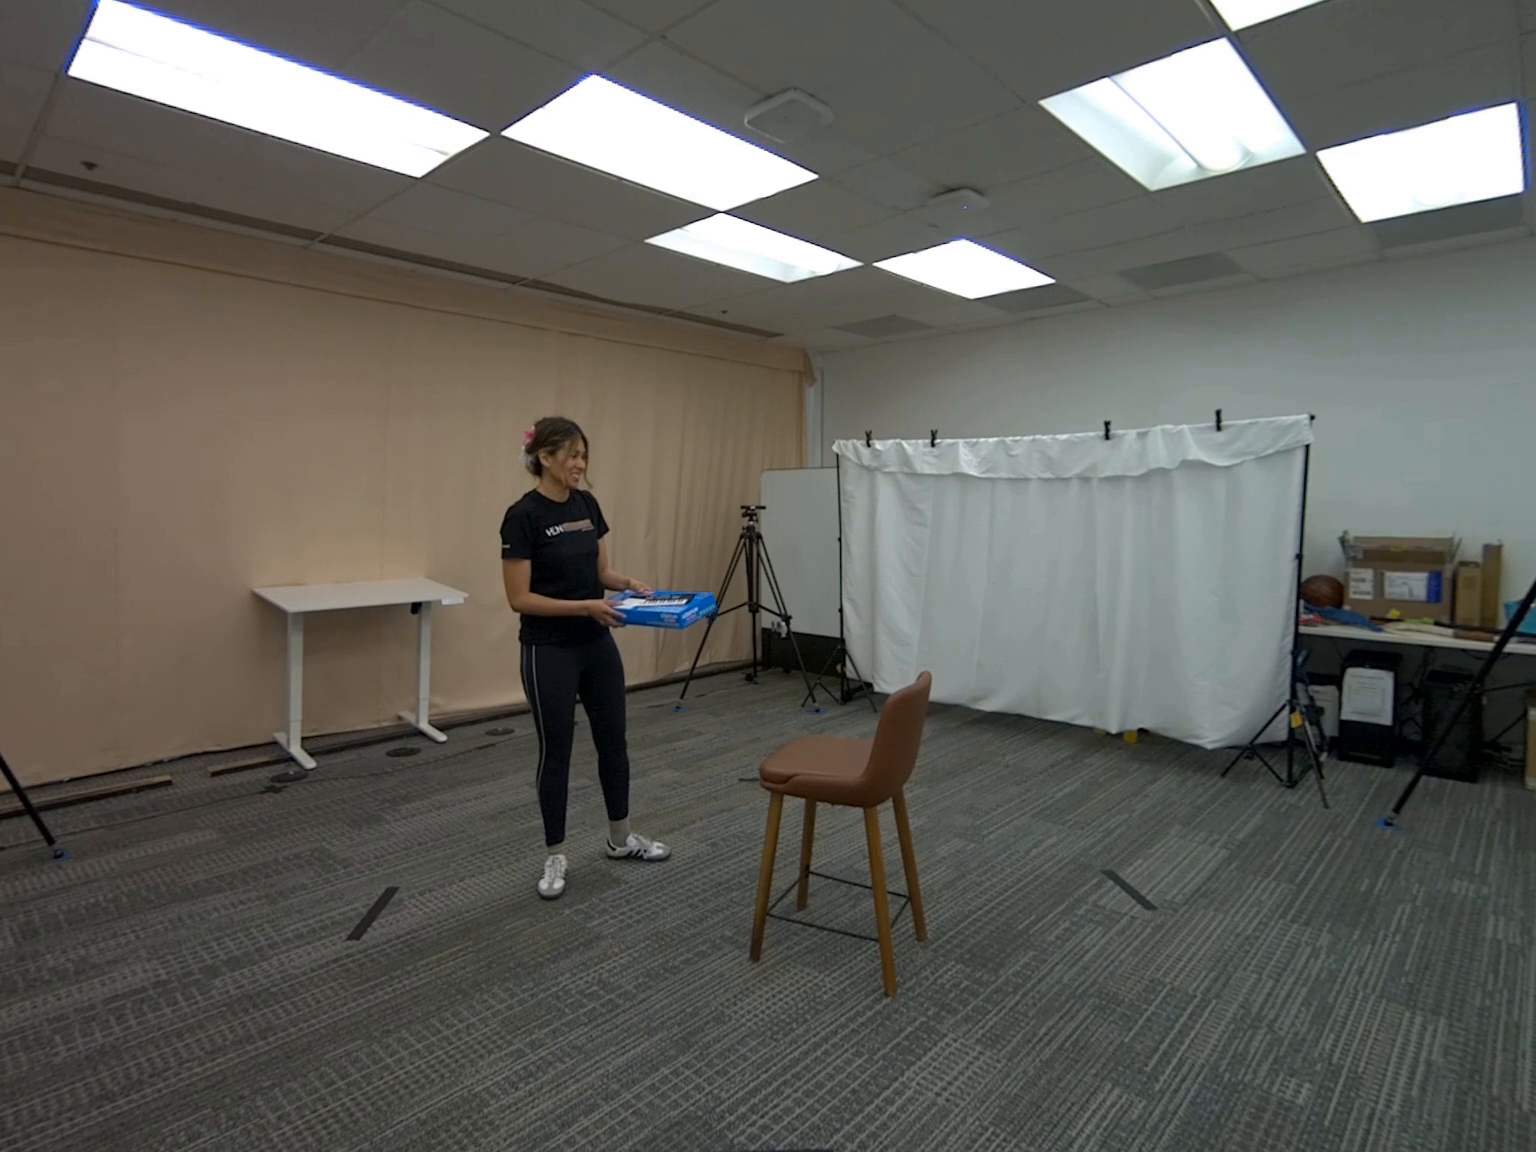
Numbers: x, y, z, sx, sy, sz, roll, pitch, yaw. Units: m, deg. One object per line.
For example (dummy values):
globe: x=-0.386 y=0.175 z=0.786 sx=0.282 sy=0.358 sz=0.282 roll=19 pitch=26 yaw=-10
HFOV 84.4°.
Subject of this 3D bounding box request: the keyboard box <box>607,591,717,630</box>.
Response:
keyboard box: x=-0.390 y=0.111 z=2.847 sx=0.451 sy=0.058 sz=0.172 roll=0 pitch=20 yaw=41
